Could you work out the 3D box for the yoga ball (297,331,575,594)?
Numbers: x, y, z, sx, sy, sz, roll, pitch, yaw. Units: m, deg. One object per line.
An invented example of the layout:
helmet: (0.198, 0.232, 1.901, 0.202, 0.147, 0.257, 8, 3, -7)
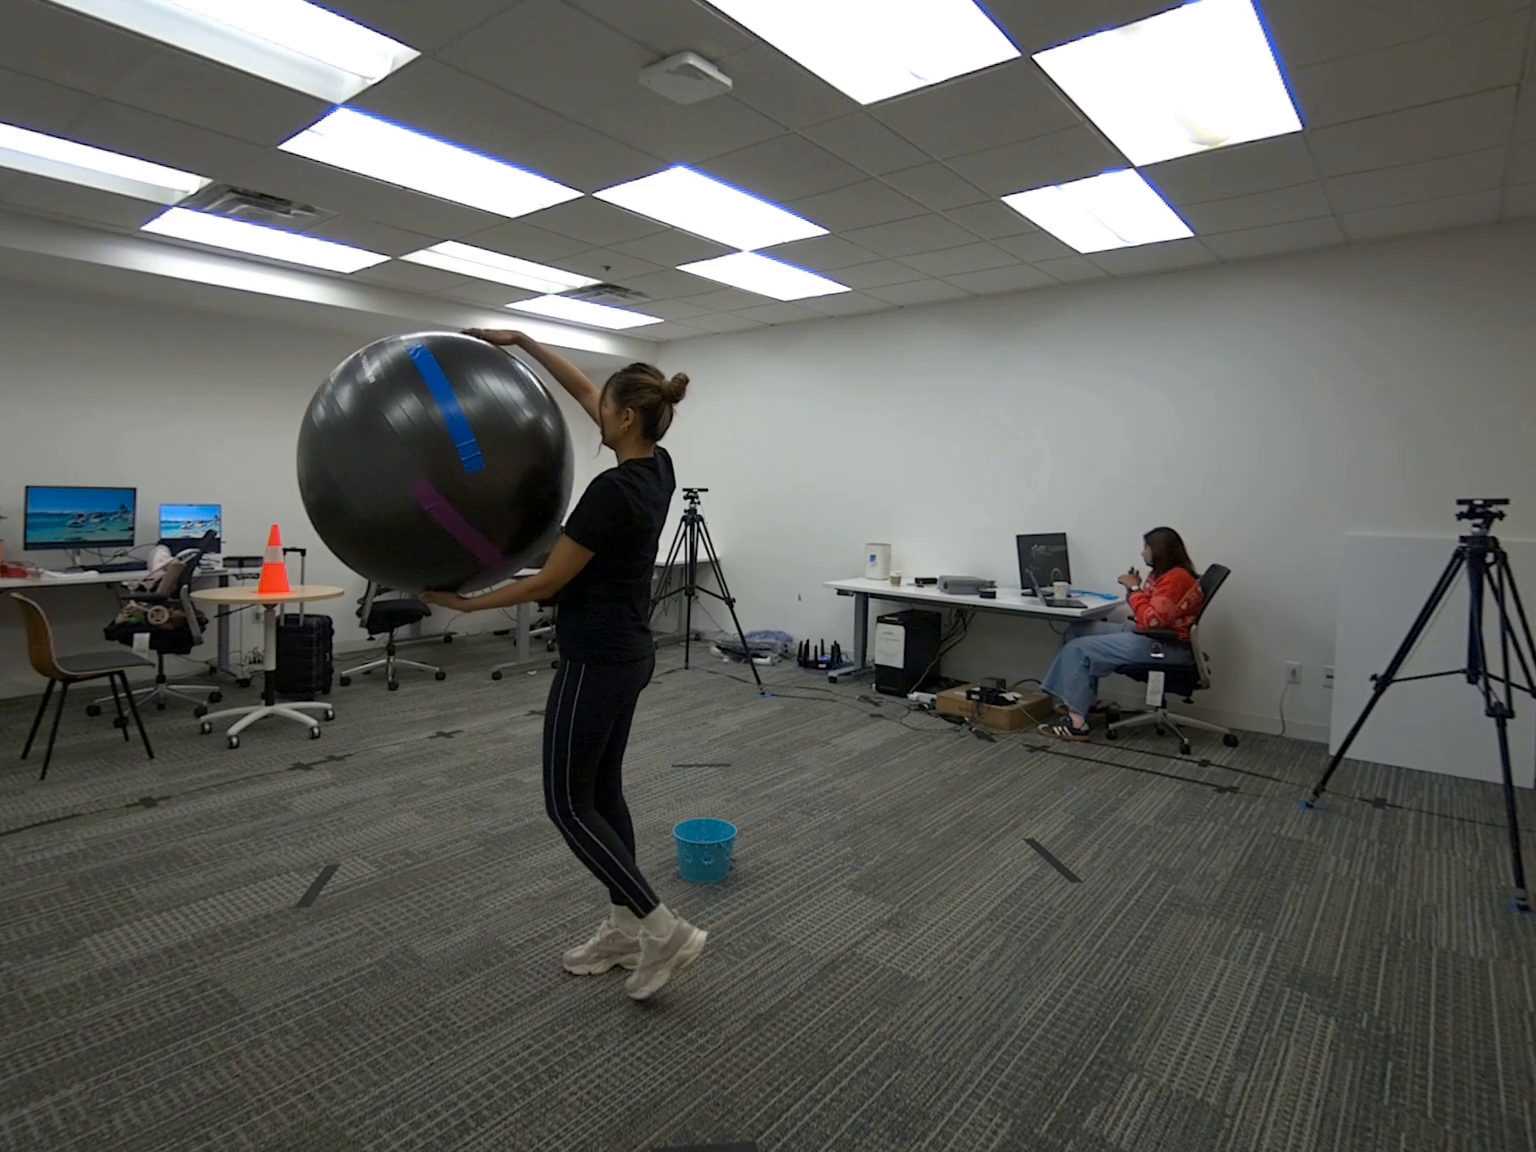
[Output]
yoga ball: (-0.960, -0.309, 2.439, 0.757, 0.756, 0.761, 1, 4, -2)
